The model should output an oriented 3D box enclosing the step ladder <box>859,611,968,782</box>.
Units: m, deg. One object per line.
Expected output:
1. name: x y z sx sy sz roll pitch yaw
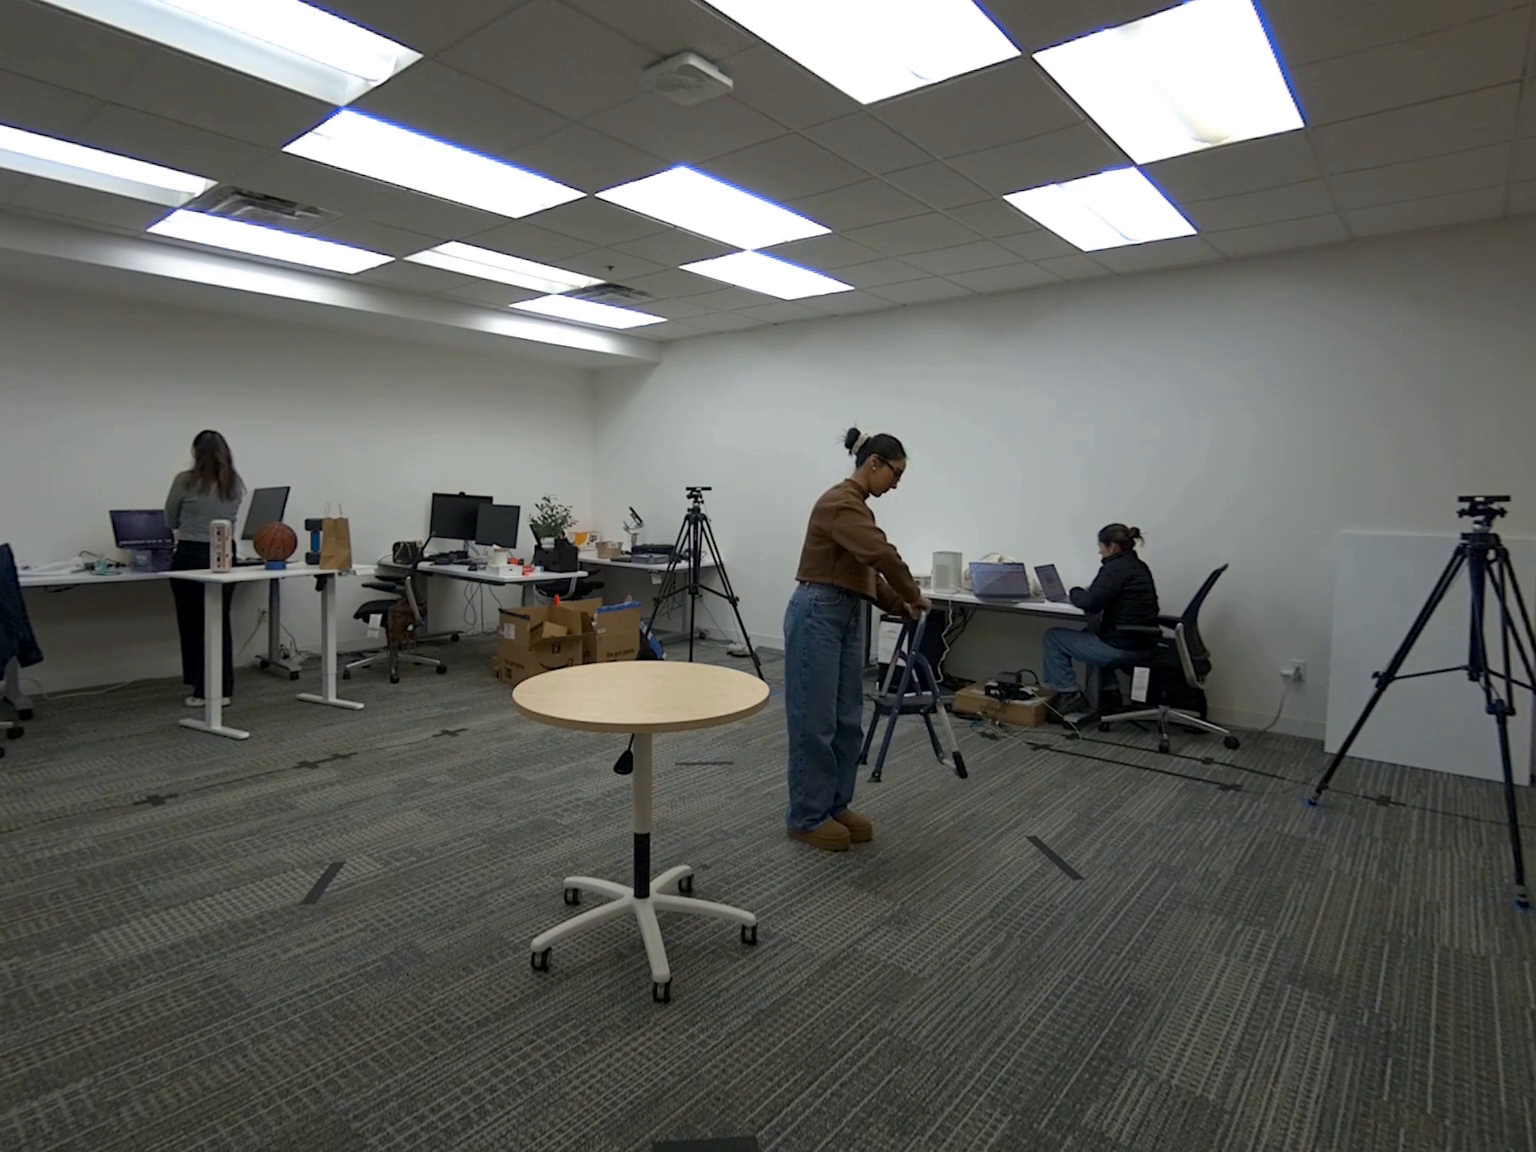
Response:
1. step ladder: 0.507 0.429 3.208 0.350 0.610 0.427 -3 -6 1
